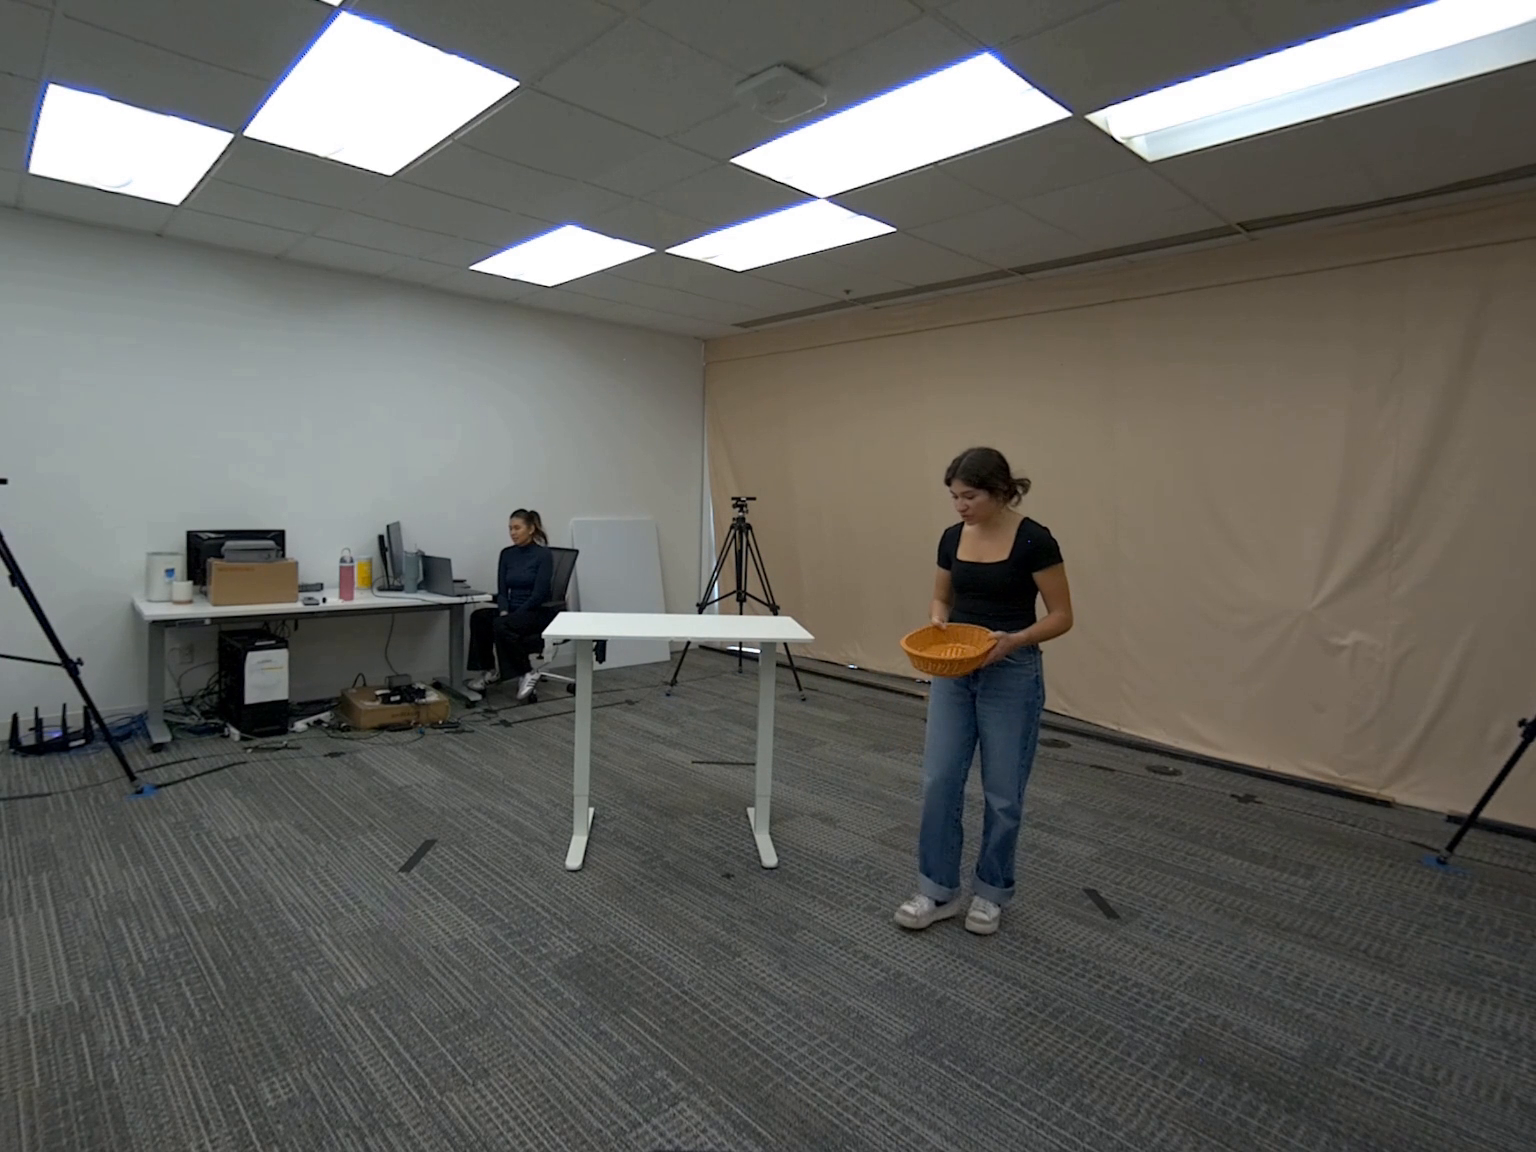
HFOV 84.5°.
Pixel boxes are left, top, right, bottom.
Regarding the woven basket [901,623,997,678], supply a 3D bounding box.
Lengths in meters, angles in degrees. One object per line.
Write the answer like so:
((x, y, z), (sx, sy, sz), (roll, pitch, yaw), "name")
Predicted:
((0.565, 0.233, 2.534), (0.259, 0.073, 0.344), (9, 17, 39), "woven basket")
